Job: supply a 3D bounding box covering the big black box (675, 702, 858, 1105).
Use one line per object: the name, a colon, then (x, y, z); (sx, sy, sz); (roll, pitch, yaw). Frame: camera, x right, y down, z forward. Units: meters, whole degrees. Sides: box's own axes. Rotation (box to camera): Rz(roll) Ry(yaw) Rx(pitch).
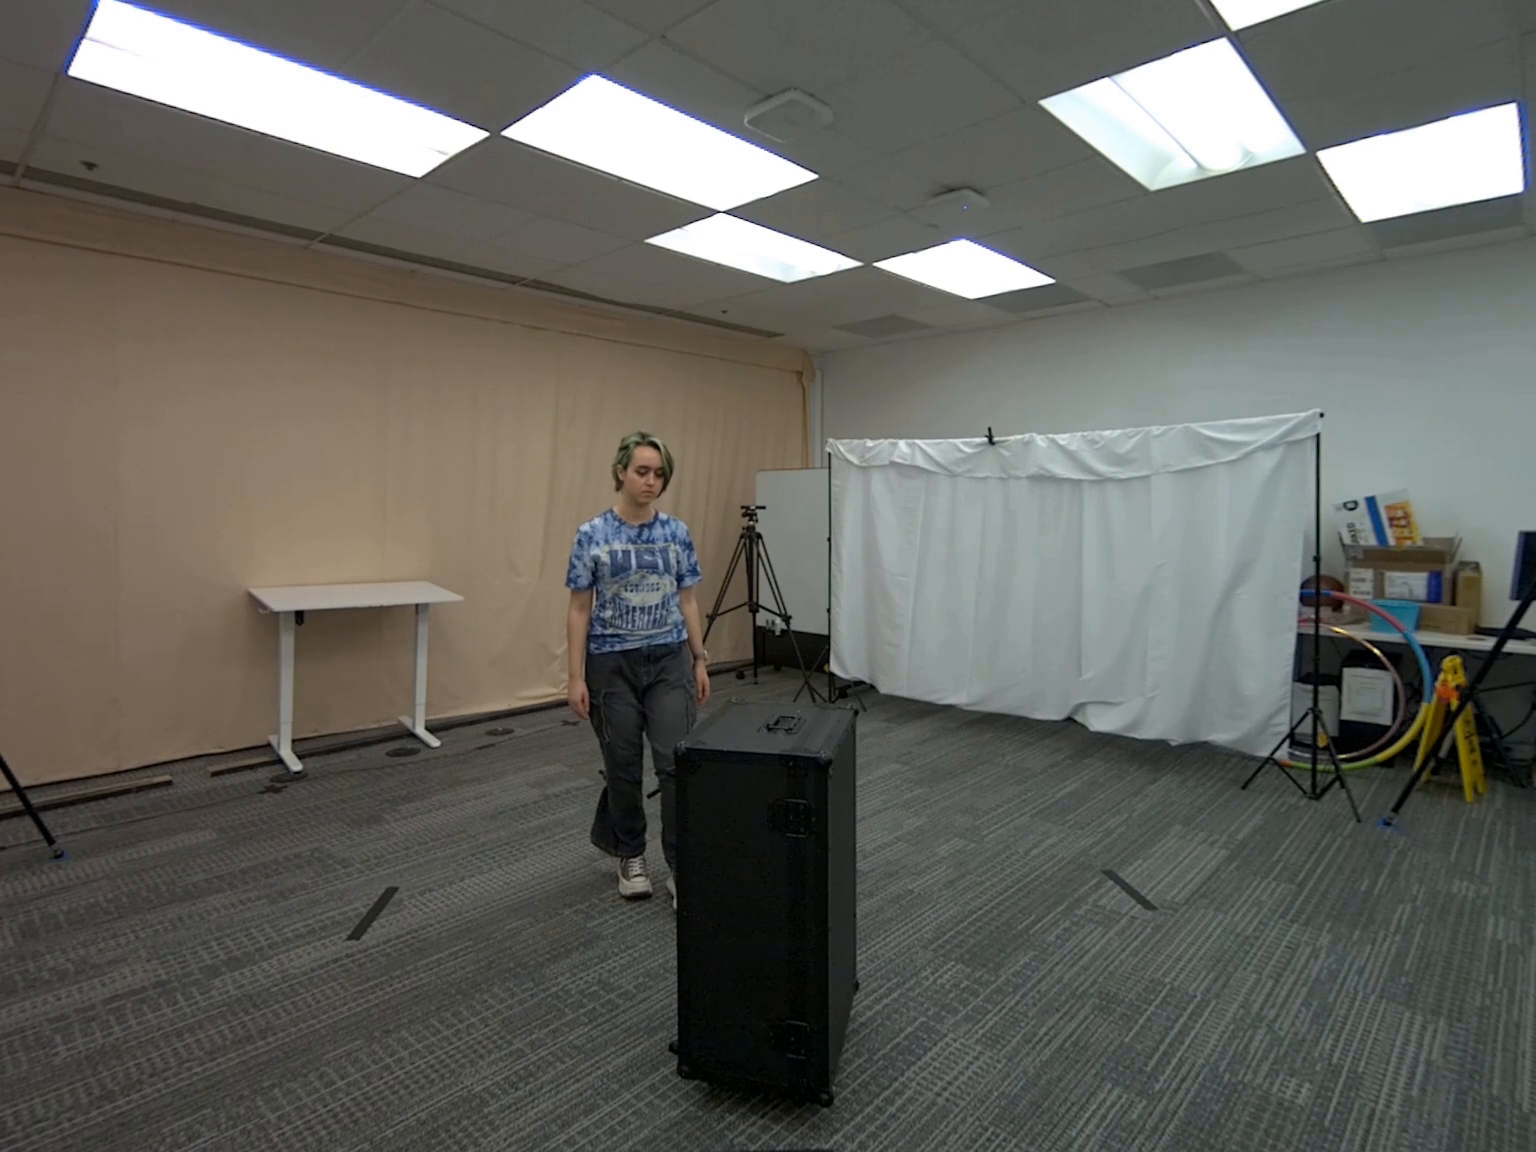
big black box: (0.008, 0.792, 2.104); (0.403, 0.859, 0.513); (0, 4, 15)
